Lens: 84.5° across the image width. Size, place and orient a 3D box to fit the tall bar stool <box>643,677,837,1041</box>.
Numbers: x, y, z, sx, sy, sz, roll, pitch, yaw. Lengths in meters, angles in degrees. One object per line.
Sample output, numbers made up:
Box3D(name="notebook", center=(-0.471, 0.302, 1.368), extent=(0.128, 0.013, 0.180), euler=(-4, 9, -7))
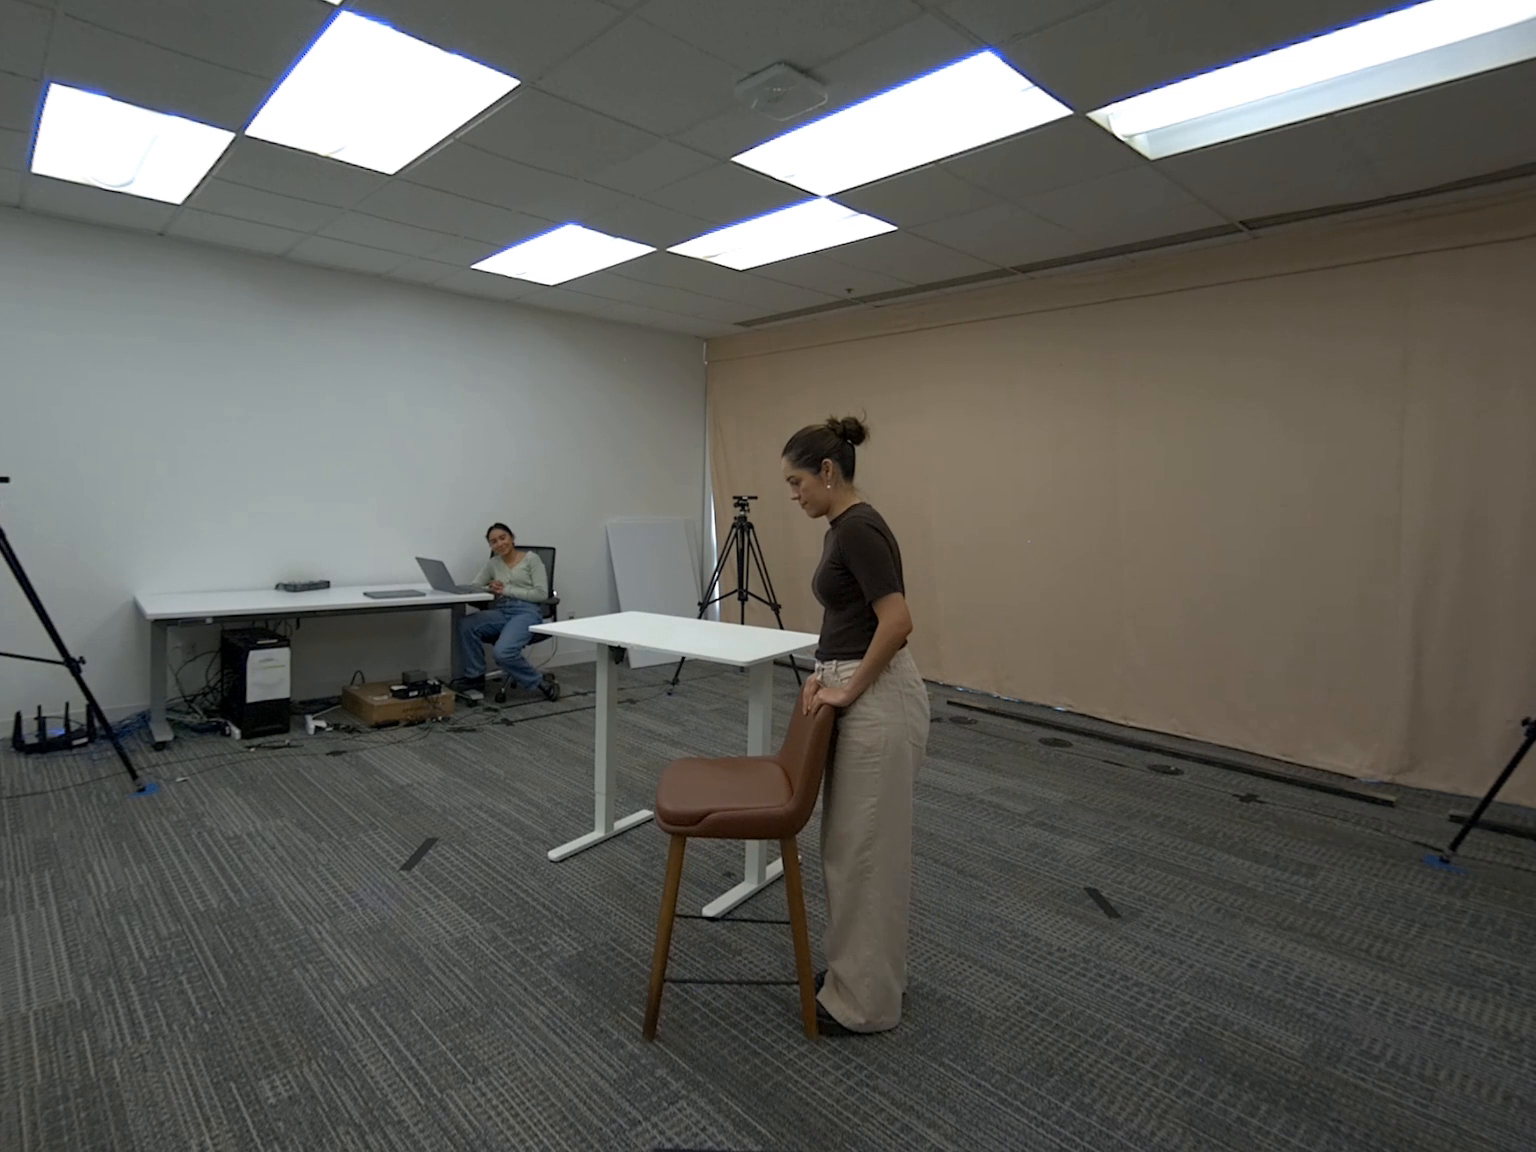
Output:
Box3D(name="tall bar stool", center=(-0.086, 0.746, 2.312), extent=(0.468, 0.887, 0.458), euler=(3, 5, 0))
